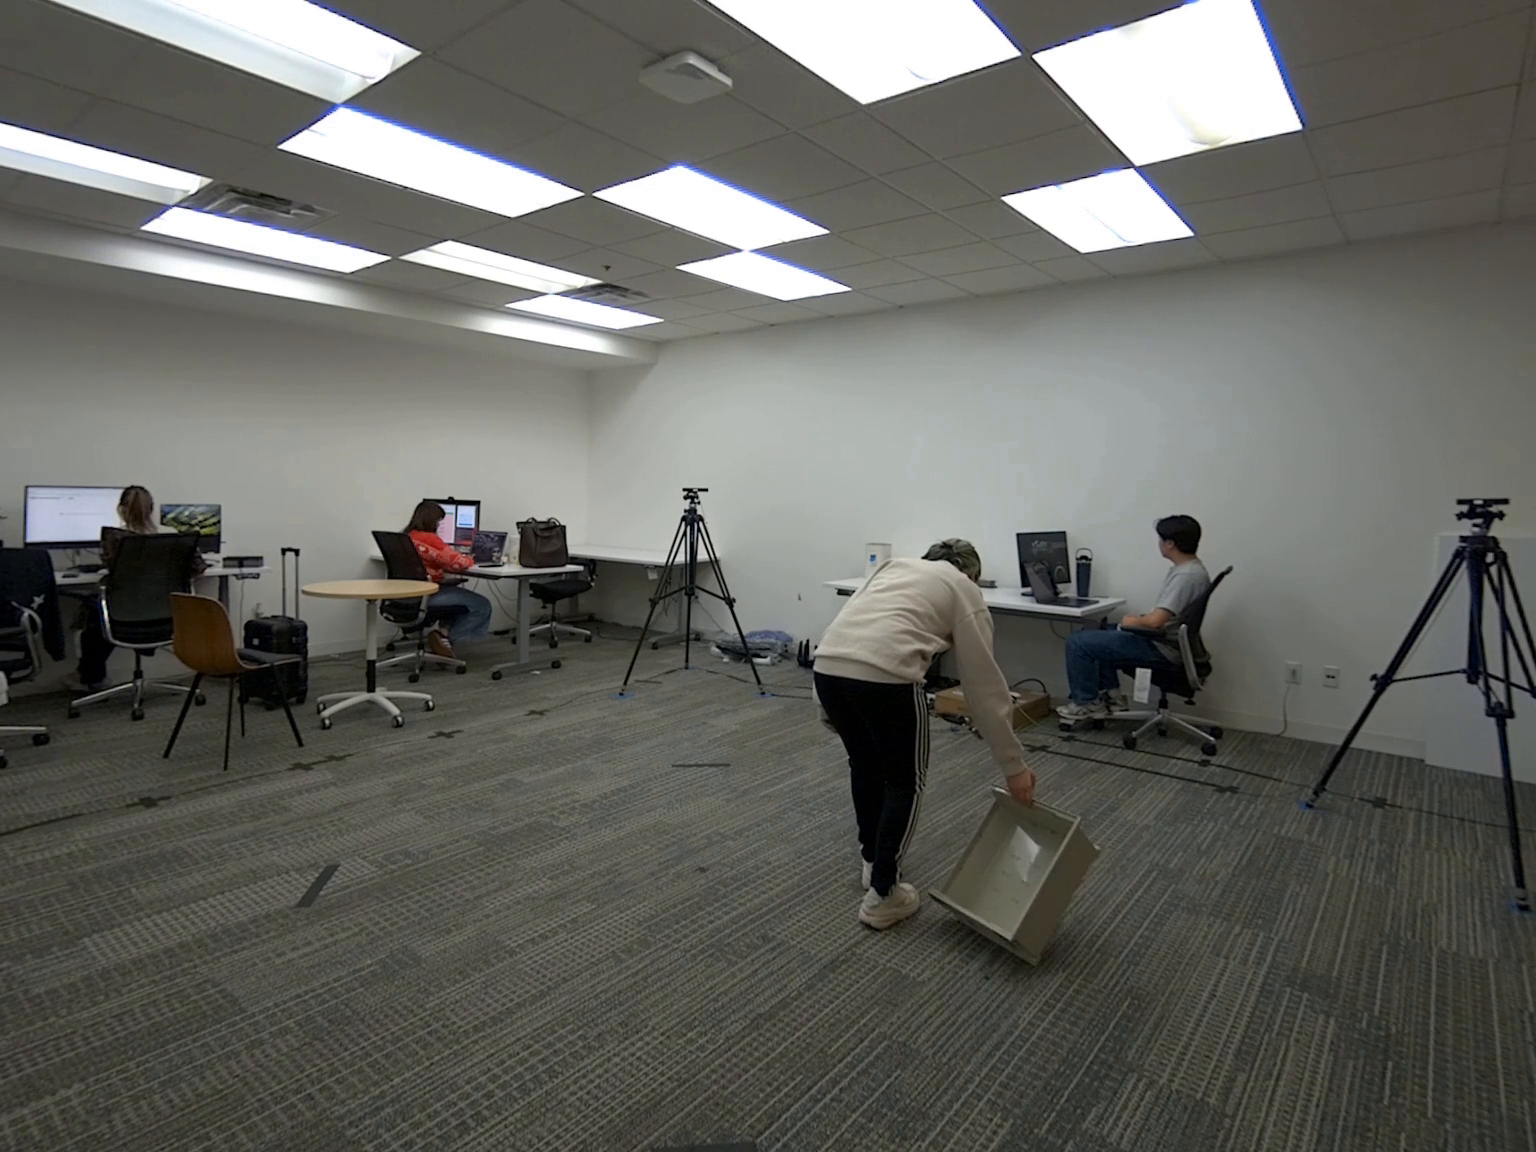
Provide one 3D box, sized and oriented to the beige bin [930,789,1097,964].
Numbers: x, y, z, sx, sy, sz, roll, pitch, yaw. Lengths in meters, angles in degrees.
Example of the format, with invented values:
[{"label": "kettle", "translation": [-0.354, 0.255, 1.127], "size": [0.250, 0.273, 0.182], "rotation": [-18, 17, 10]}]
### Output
[{"label": "beige bin", "translation": [0.771, 0.928, 2.694], "size": [0.183, 0.422, 0.389], "rotation": [49, -20, -27]}]
